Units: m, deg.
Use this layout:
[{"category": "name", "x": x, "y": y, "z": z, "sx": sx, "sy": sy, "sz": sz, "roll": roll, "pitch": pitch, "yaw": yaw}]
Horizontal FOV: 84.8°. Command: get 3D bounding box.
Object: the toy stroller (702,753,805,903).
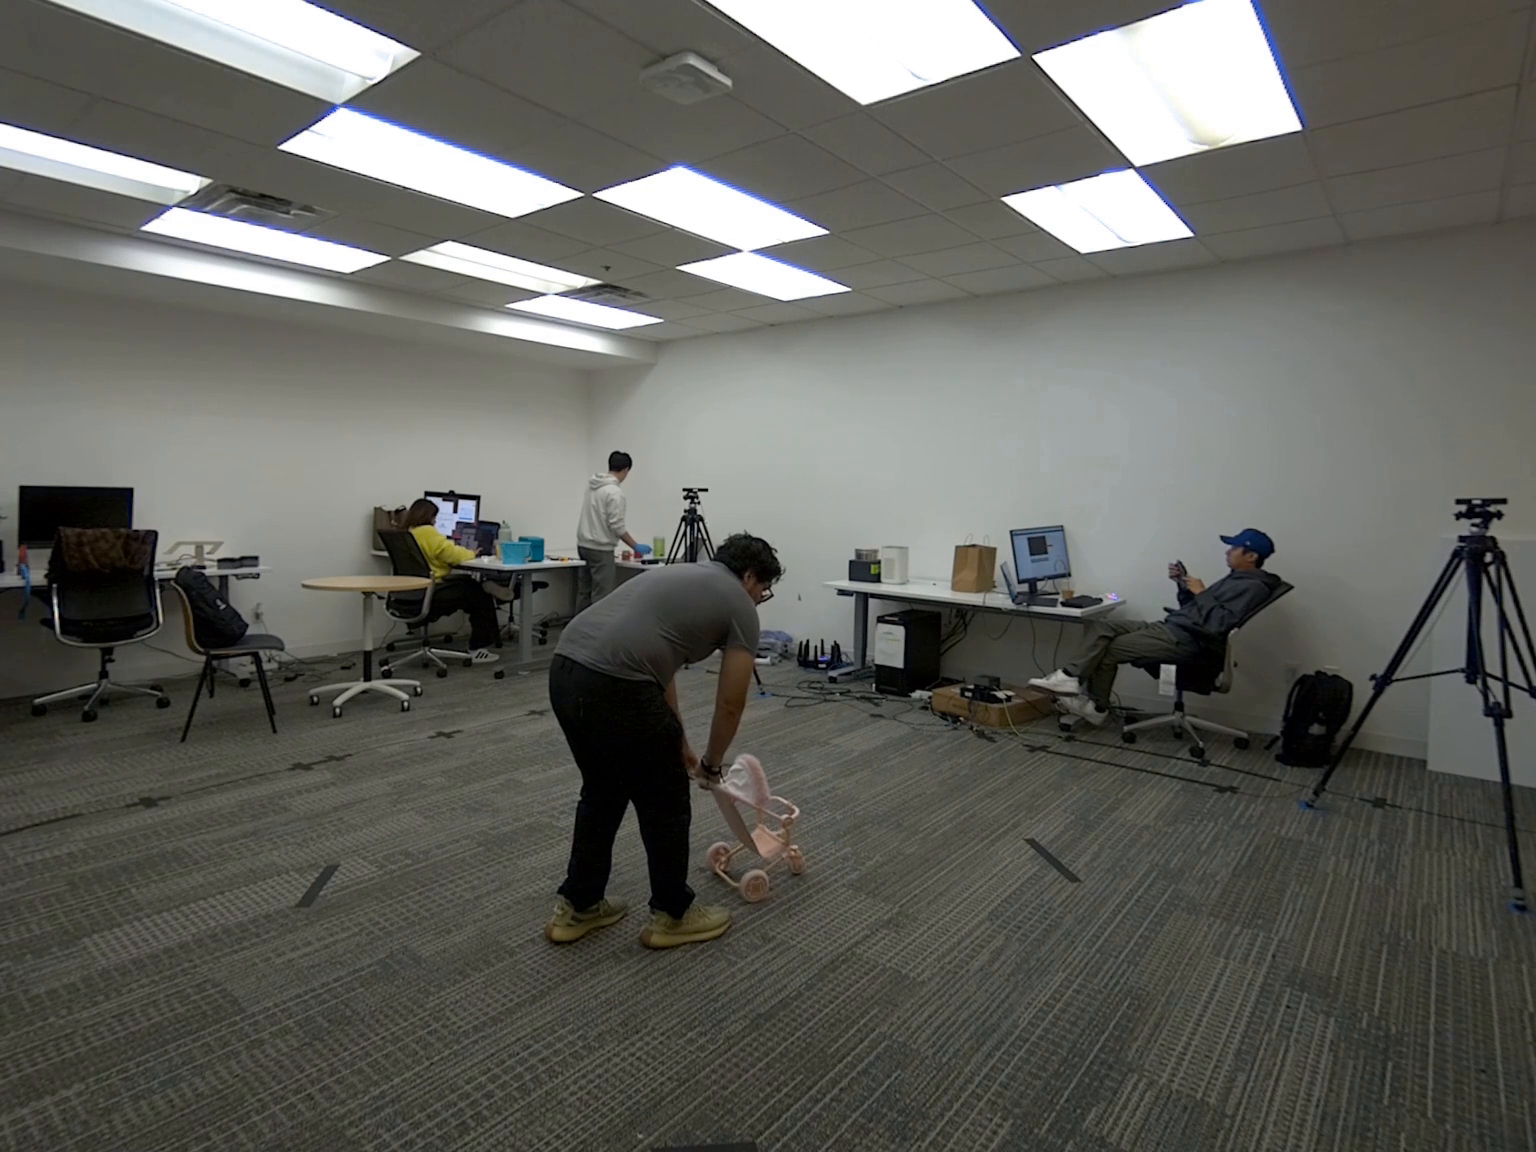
[{"category": "toy stroller", "x": -0.061, "y": 0.858, "z": 2.993, "sx": 0.336, "sy": 0.529, "sz": 0.289, "roll": -19, "pitch": 11, "yaw": -23}]
